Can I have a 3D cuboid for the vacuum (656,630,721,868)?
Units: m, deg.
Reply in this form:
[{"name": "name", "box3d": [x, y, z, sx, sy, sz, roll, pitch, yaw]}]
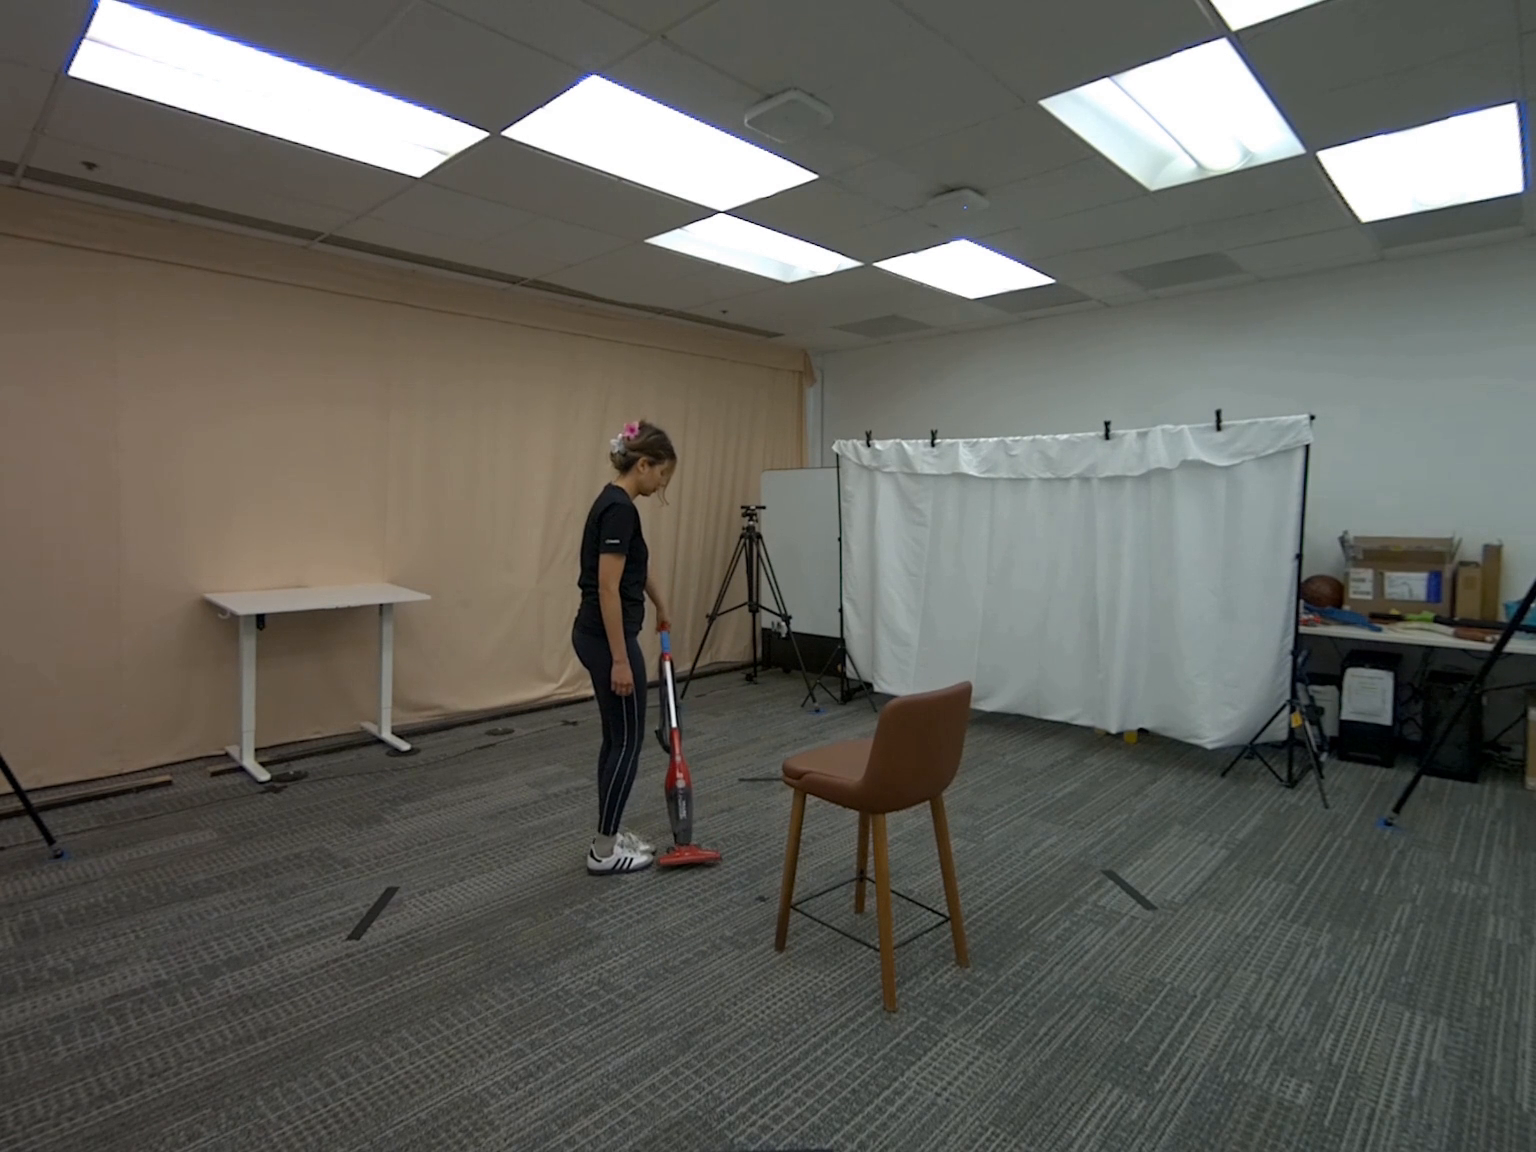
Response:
[{"name": "vacuum", "box3d": [-0.394, 0.655, 3.540, 0.249, 1.071, 0.143, -1, -32, -15]}]
